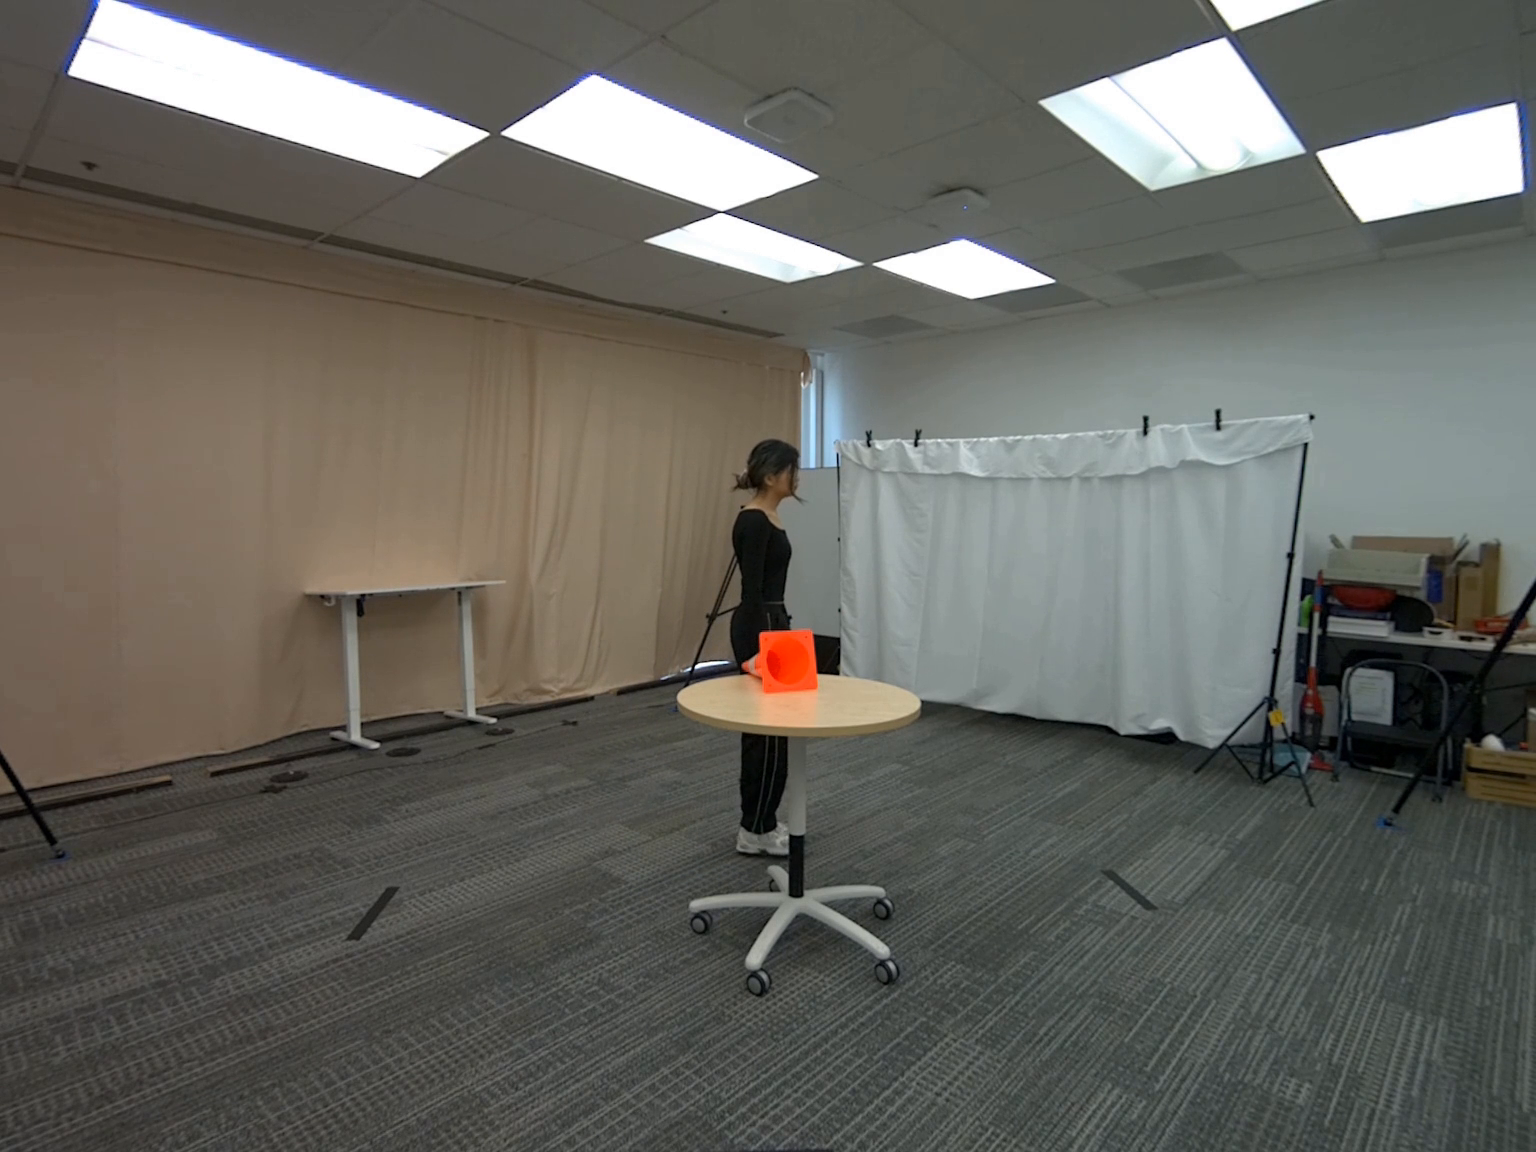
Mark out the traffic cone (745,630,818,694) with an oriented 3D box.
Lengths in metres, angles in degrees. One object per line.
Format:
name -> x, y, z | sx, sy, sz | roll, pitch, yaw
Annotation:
traffic cone -> -0.008, 0.308, 2.941 | 0.201, 0.204, 0.389 | 2, -8, -21
